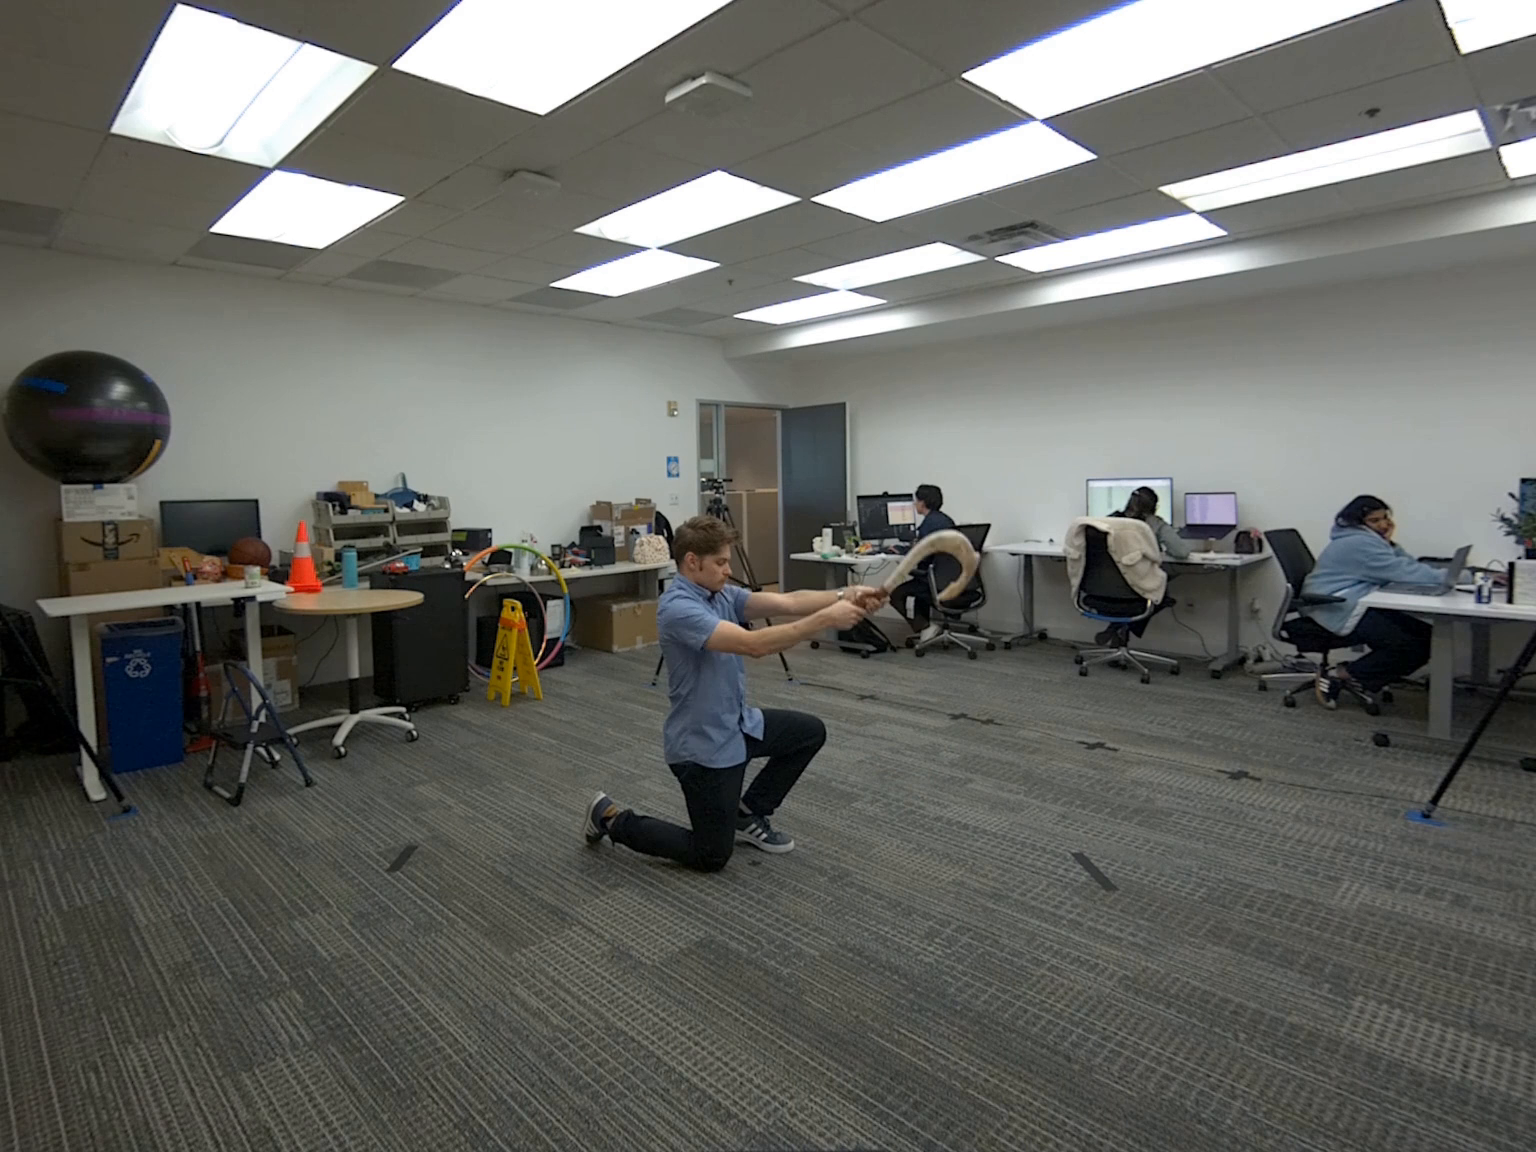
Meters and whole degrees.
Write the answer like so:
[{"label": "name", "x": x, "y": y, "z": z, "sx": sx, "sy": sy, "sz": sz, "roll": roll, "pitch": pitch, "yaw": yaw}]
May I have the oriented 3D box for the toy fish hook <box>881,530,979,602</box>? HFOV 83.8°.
[{"label": "toy fish hook", "x": 0.451, "y": 0.051, "z": 2.844, "sx": 0.508, "sy": 0.222, "sz": 0.049, "roll": -37, "pitch": 9, "yaw": 13}]
